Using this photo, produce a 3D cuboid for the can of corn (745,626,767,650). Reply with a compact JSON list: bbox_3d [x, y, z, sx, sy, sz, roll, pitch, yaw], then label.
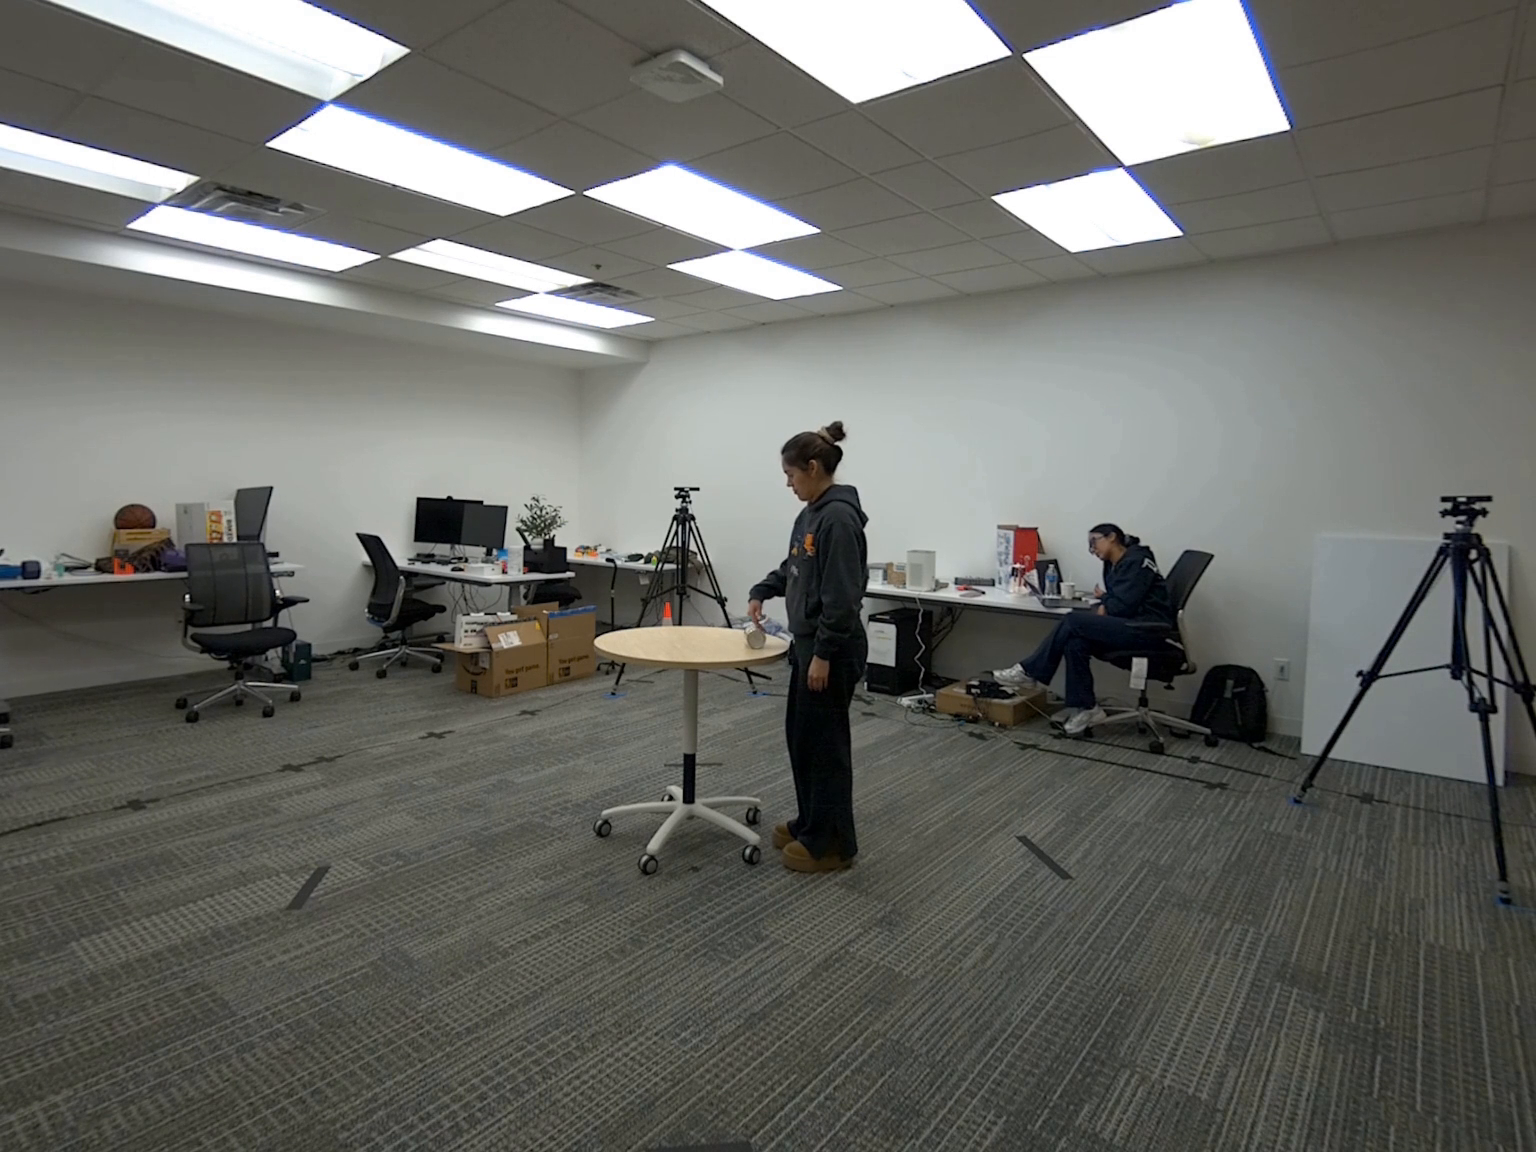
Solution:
[{"bbox_3d":[-0.056,0.233,3.305,0.074,0.074,0.112,0,3,-7],"label":"can of corn"}]
